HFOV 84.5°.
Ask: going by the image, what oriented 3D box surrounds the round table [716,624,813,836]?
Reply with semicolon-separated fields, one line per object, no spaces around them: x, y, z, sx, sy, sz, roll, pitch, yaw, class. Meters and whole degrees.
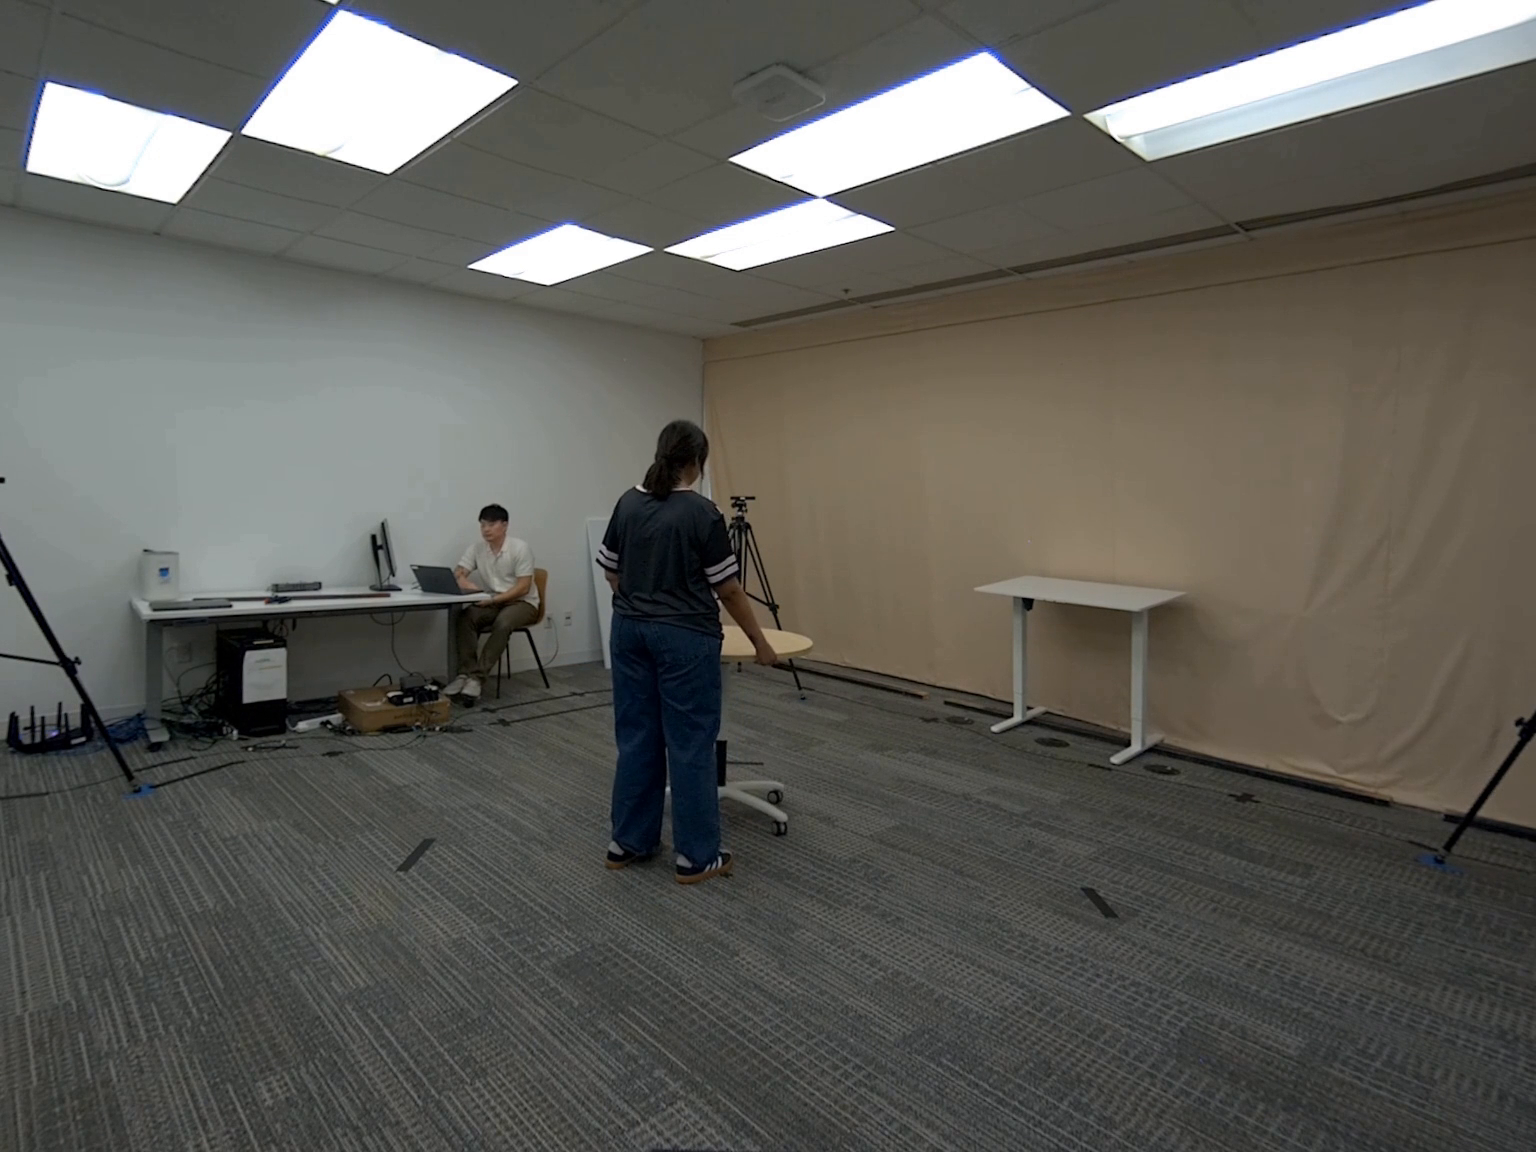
-0.213;0.663;3.652;0.784;0.785;0.787;2;3;-1;round table
